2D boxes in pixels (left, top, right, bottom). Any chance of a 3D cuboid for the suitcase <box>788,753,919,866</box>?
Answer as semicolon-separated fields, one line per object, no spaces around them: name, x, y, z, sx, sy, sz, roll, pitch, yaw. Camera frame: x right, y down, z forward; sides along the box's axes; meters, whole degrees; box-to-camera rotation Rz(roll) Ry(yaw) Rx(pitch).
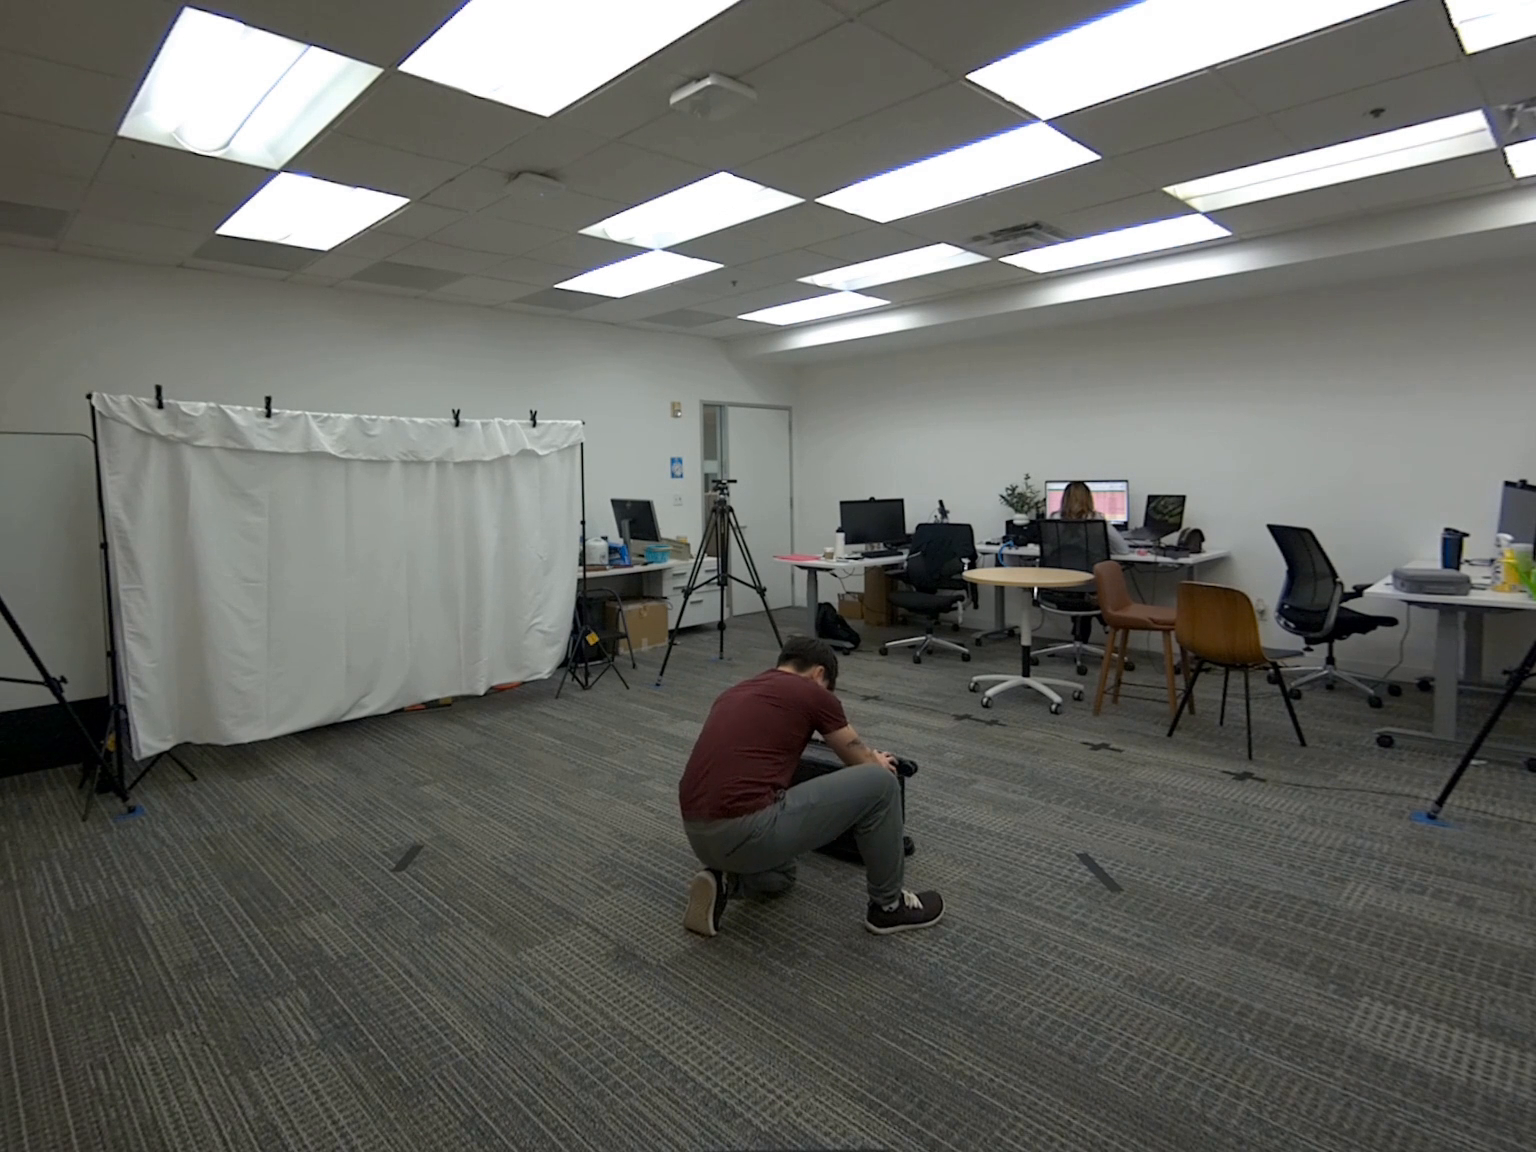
suitcase;0.099;0.829;3.387;1.007;0.384;0.250;3;2;37
